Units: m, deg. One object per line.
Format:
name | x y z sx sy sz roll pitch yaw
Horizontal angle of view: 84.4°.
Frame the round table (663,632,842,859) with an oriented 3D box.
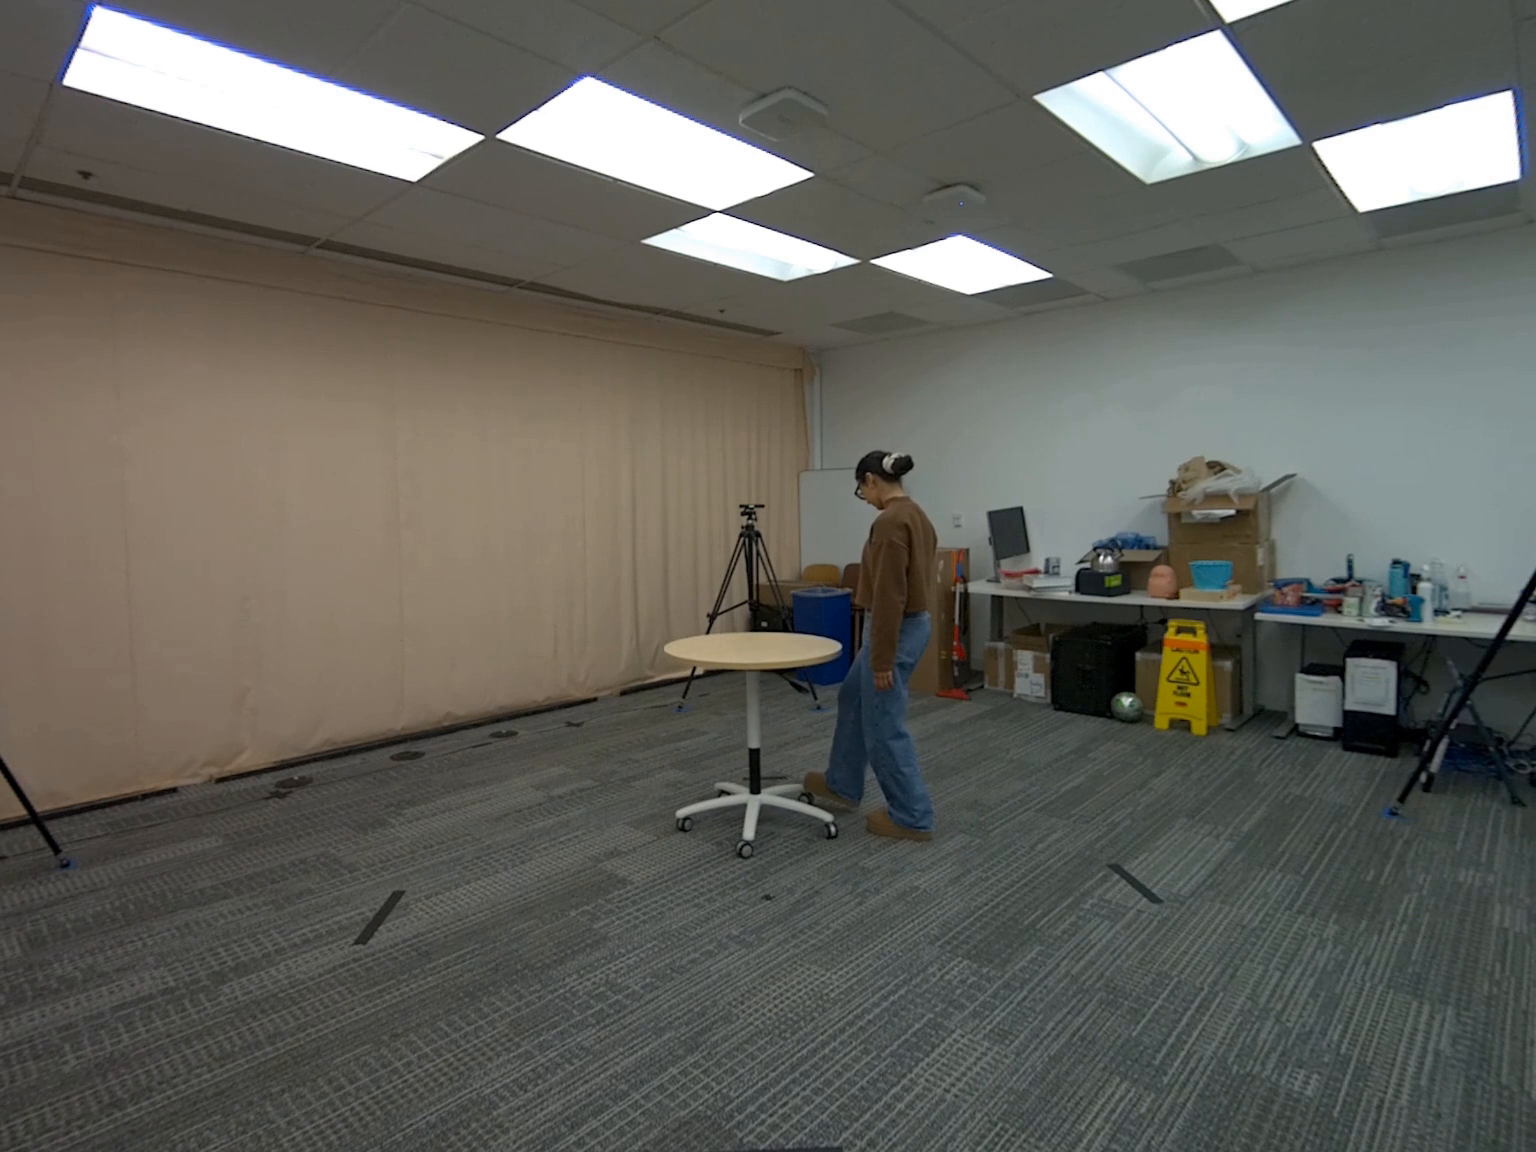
round table | -0.056 0.698 3.645 0.763 0.792 0.766 -1 3 -2
